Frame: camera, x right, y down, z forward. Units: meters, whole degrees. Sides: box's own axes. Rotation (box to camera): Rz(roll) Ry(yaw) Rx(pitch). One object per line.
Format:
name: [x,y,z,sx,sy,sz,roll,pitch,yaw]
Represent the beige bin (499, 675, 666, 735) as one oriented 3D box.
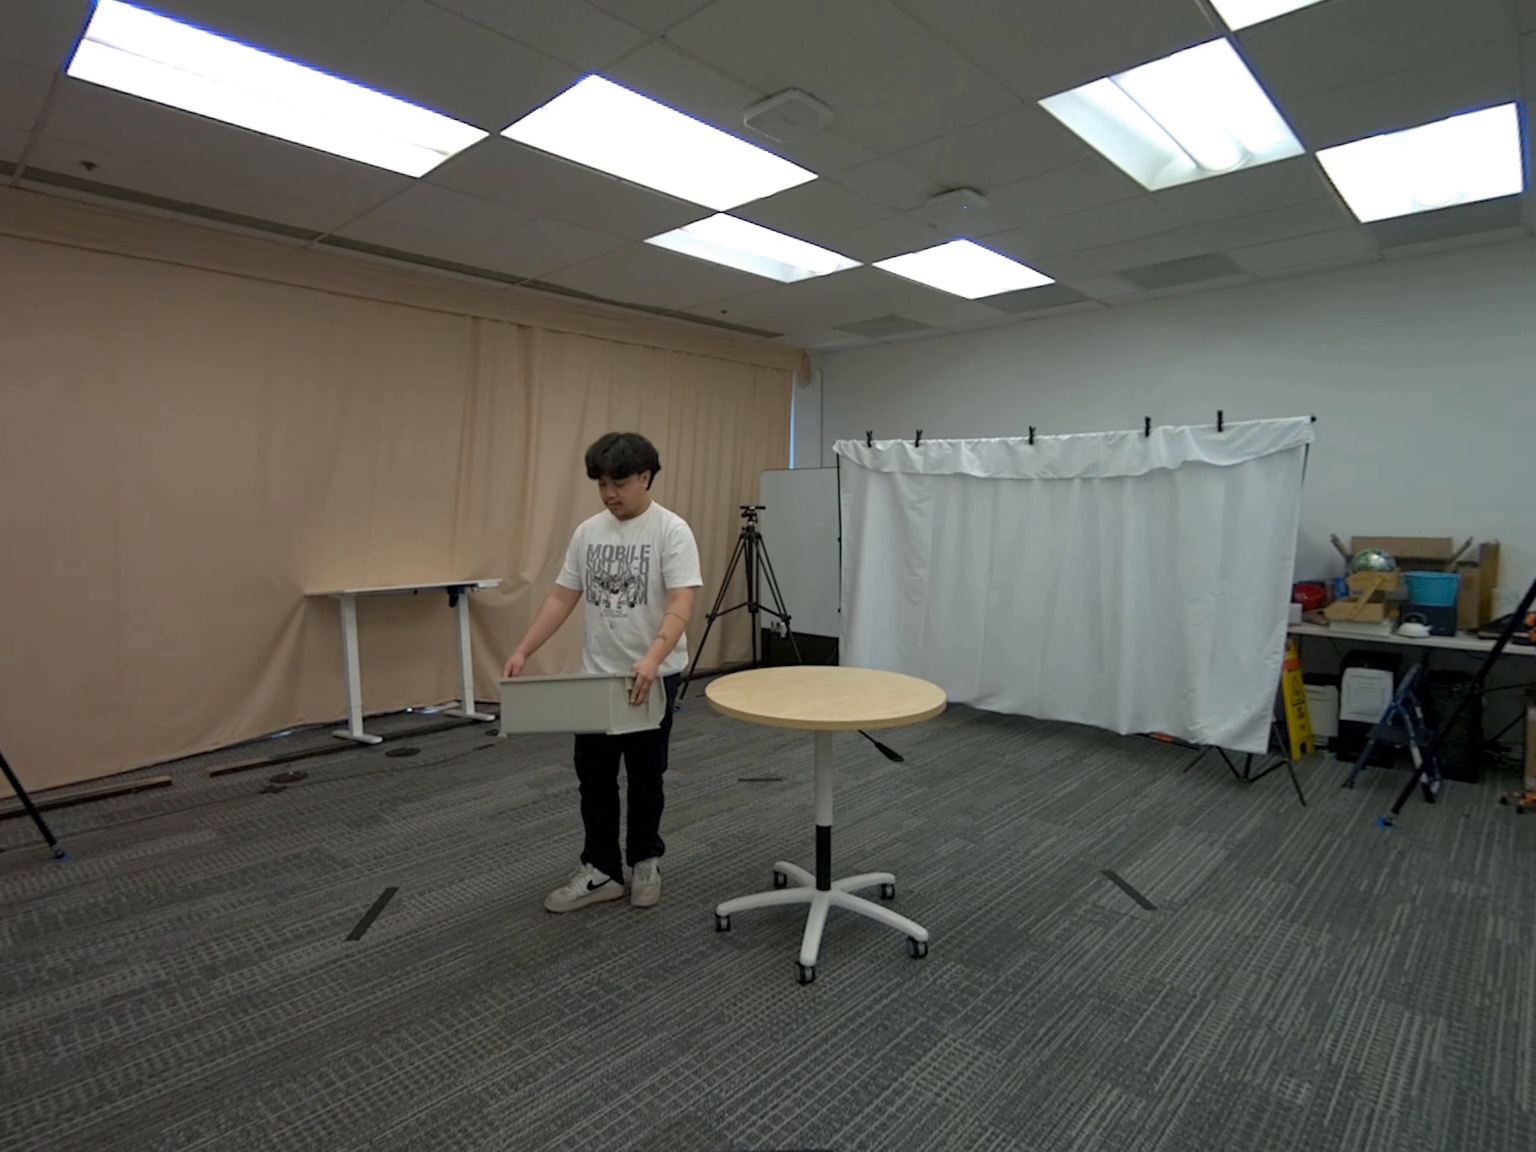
beige bin: [-0.609,0.397,2.674,0.432,0.189,0.367,-4,-3,25]
